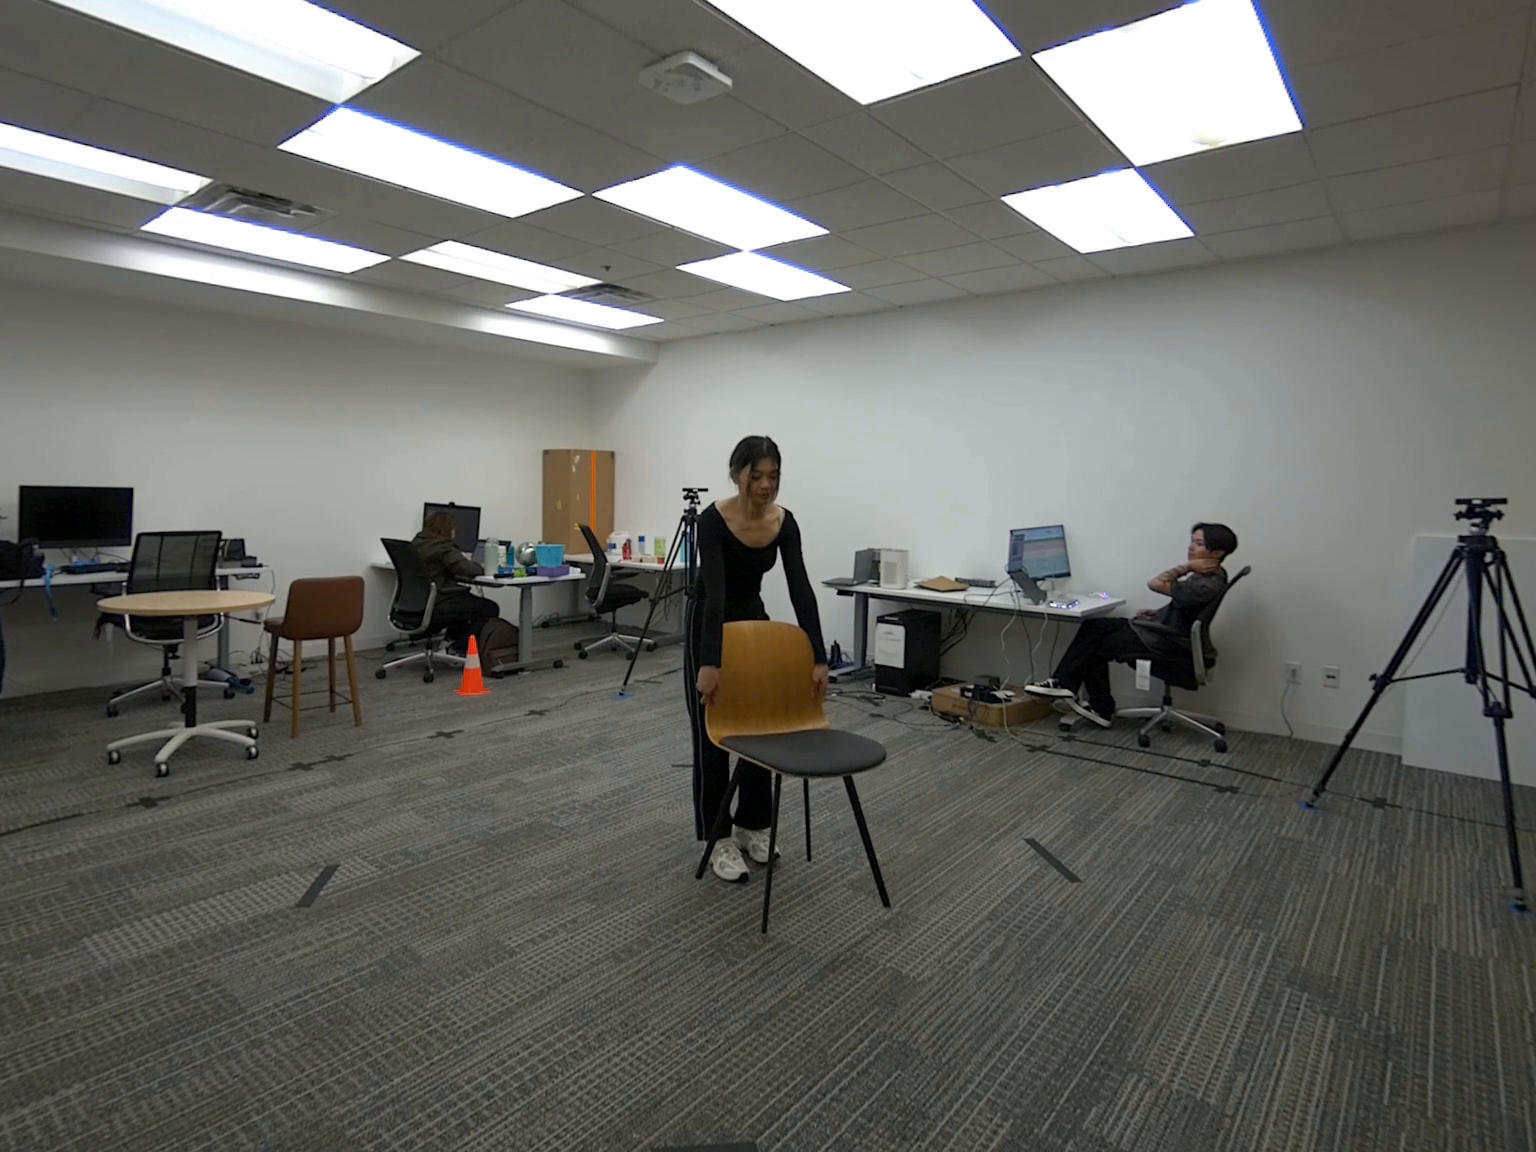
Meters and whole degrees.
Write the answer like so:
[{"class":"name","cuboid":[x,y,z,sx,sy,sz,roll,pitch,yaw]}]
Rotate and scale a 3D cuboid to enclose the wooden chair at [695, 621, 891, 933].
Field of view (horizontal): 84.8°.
[{"class":"wooden chair","cuboid":[0.074,0.587,2.719,0.465,0.882,0.534,1,-5,-28]}]
